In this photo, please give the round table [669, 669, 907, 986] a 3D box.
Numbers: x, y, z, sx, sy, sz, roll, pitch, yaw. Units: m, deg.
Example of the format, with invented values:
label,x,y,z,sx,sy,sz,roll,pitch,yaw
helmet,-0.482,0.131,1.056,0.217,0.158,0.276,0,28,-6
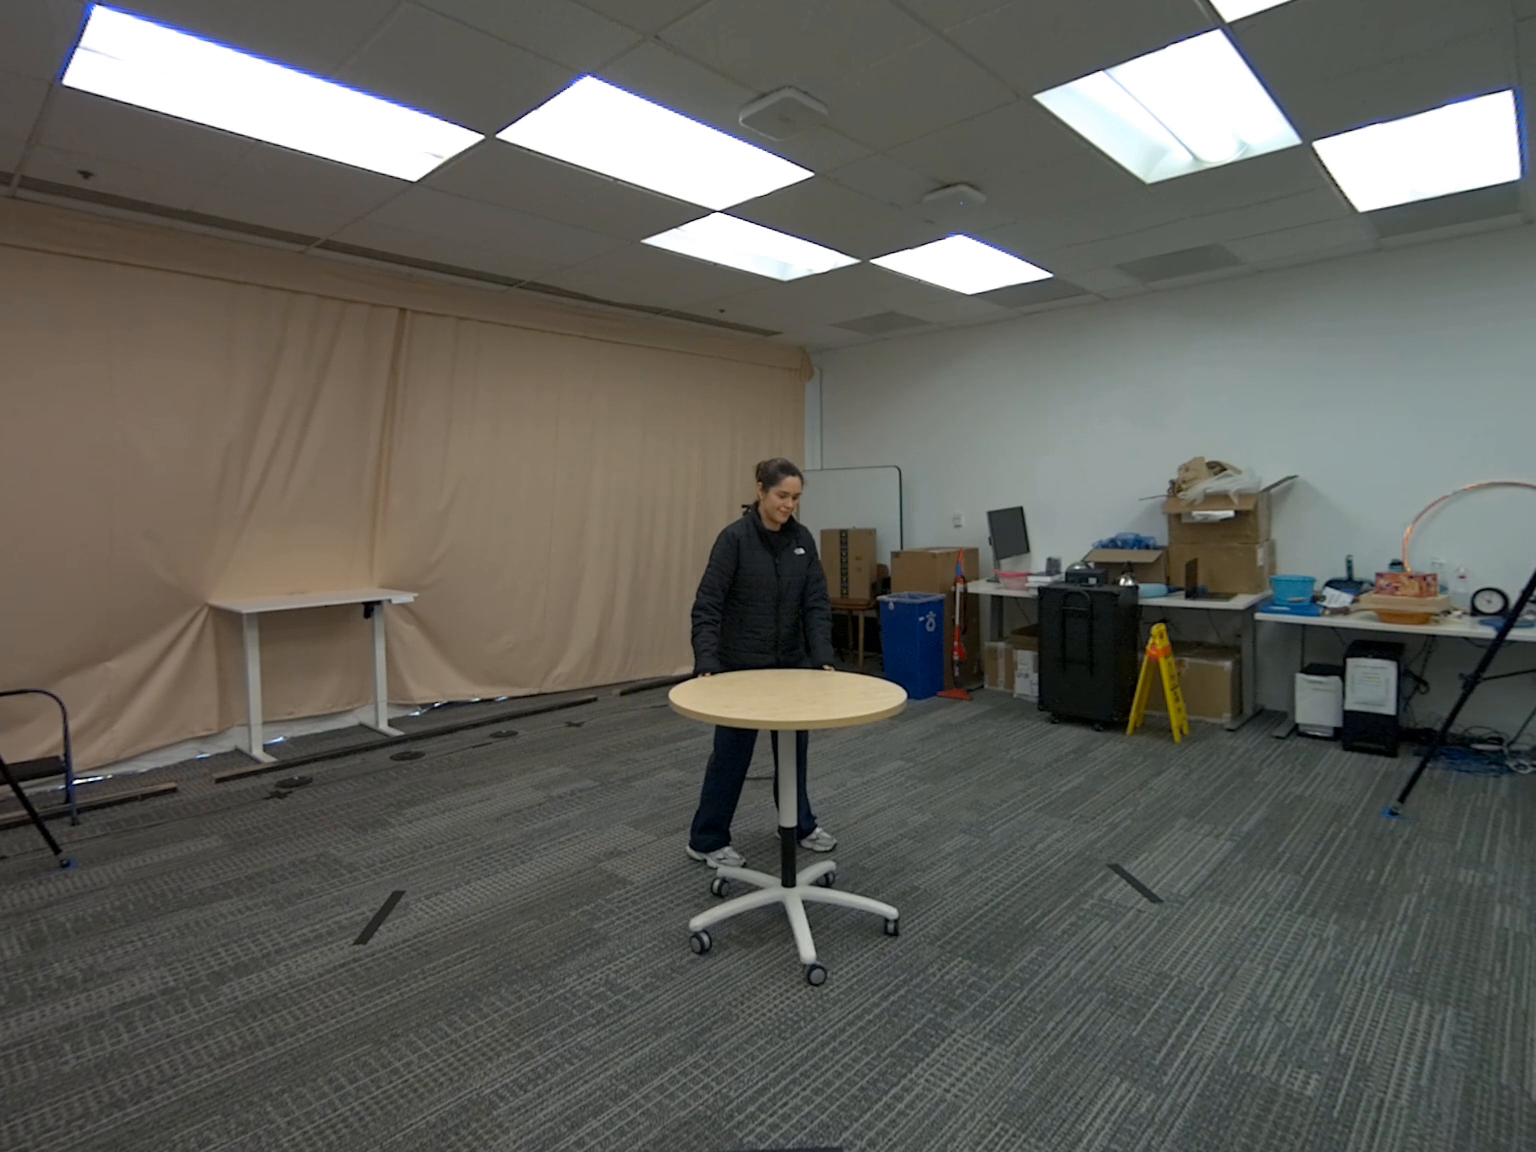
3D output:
label,x,y,z,sx,sy,sz,roll,pitch,yaw
round table,0.082,0.759,2.768,0.784,0.785,0.788,-1,4,-2
